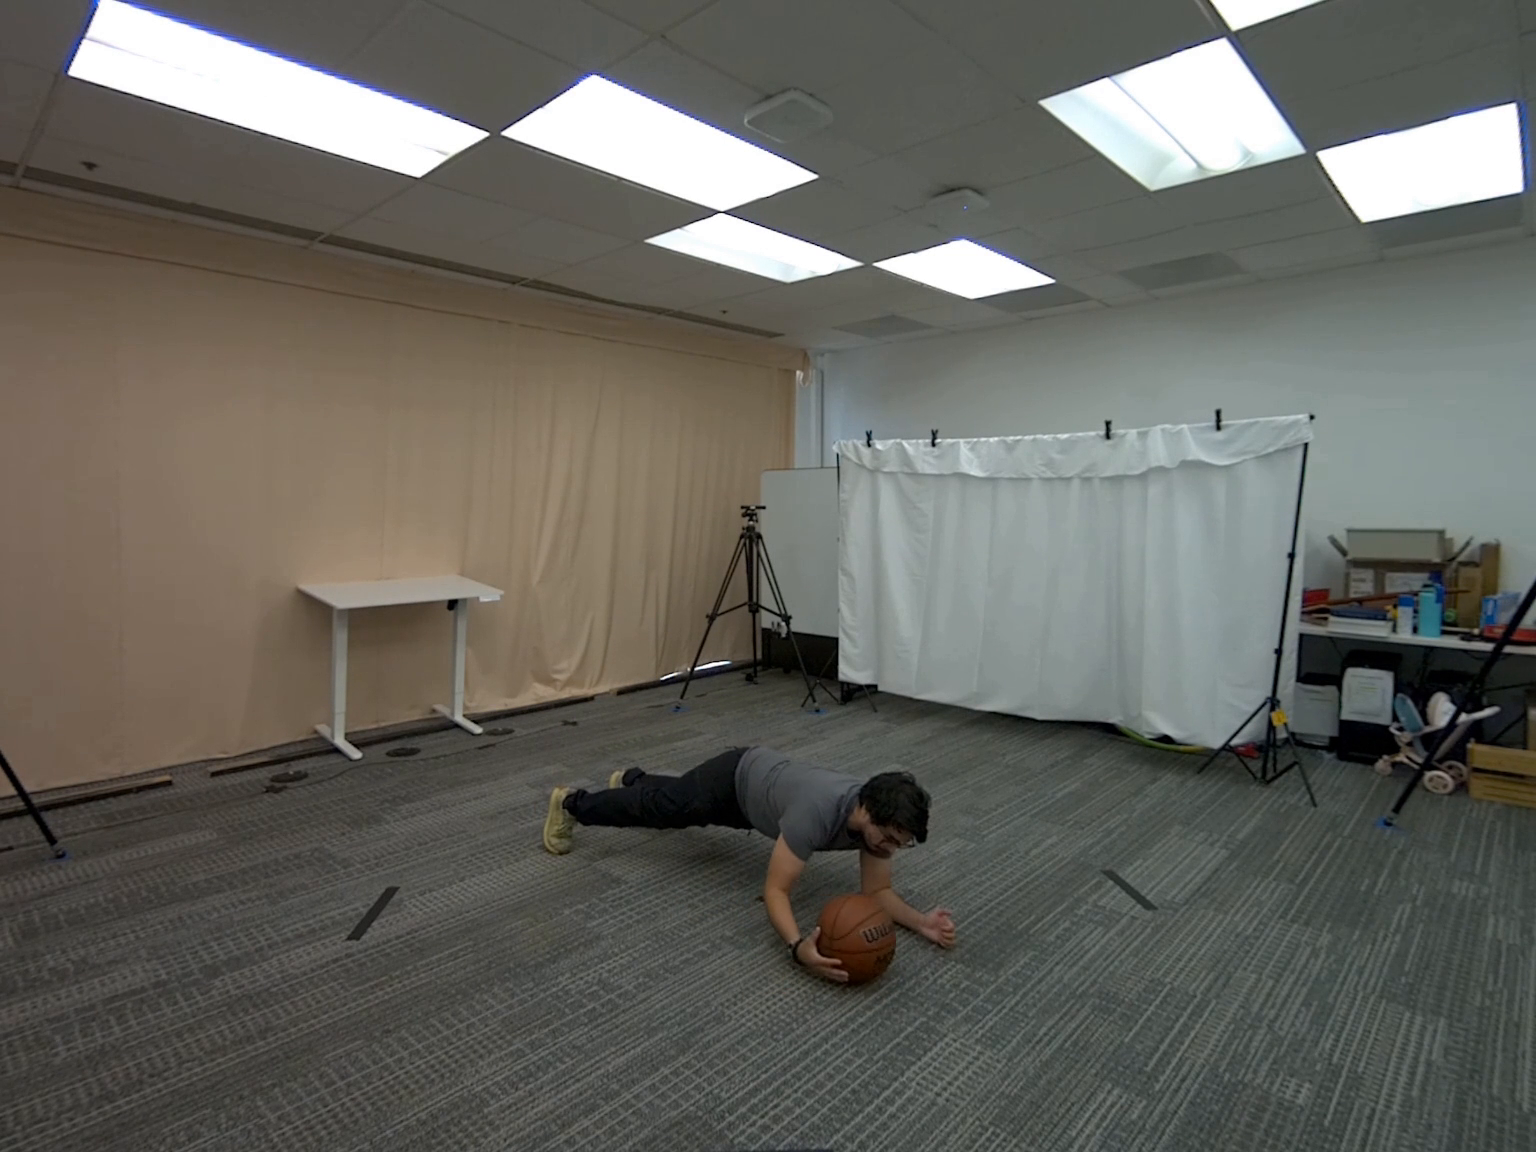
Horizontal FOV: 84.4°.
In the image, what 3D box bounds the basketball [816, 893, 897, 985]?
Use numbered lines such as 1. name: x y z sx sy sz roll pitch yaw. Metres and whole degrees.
1. basketball: 0.264 1.062 2.488 0.236 0.235 0.237 0 4 -2
